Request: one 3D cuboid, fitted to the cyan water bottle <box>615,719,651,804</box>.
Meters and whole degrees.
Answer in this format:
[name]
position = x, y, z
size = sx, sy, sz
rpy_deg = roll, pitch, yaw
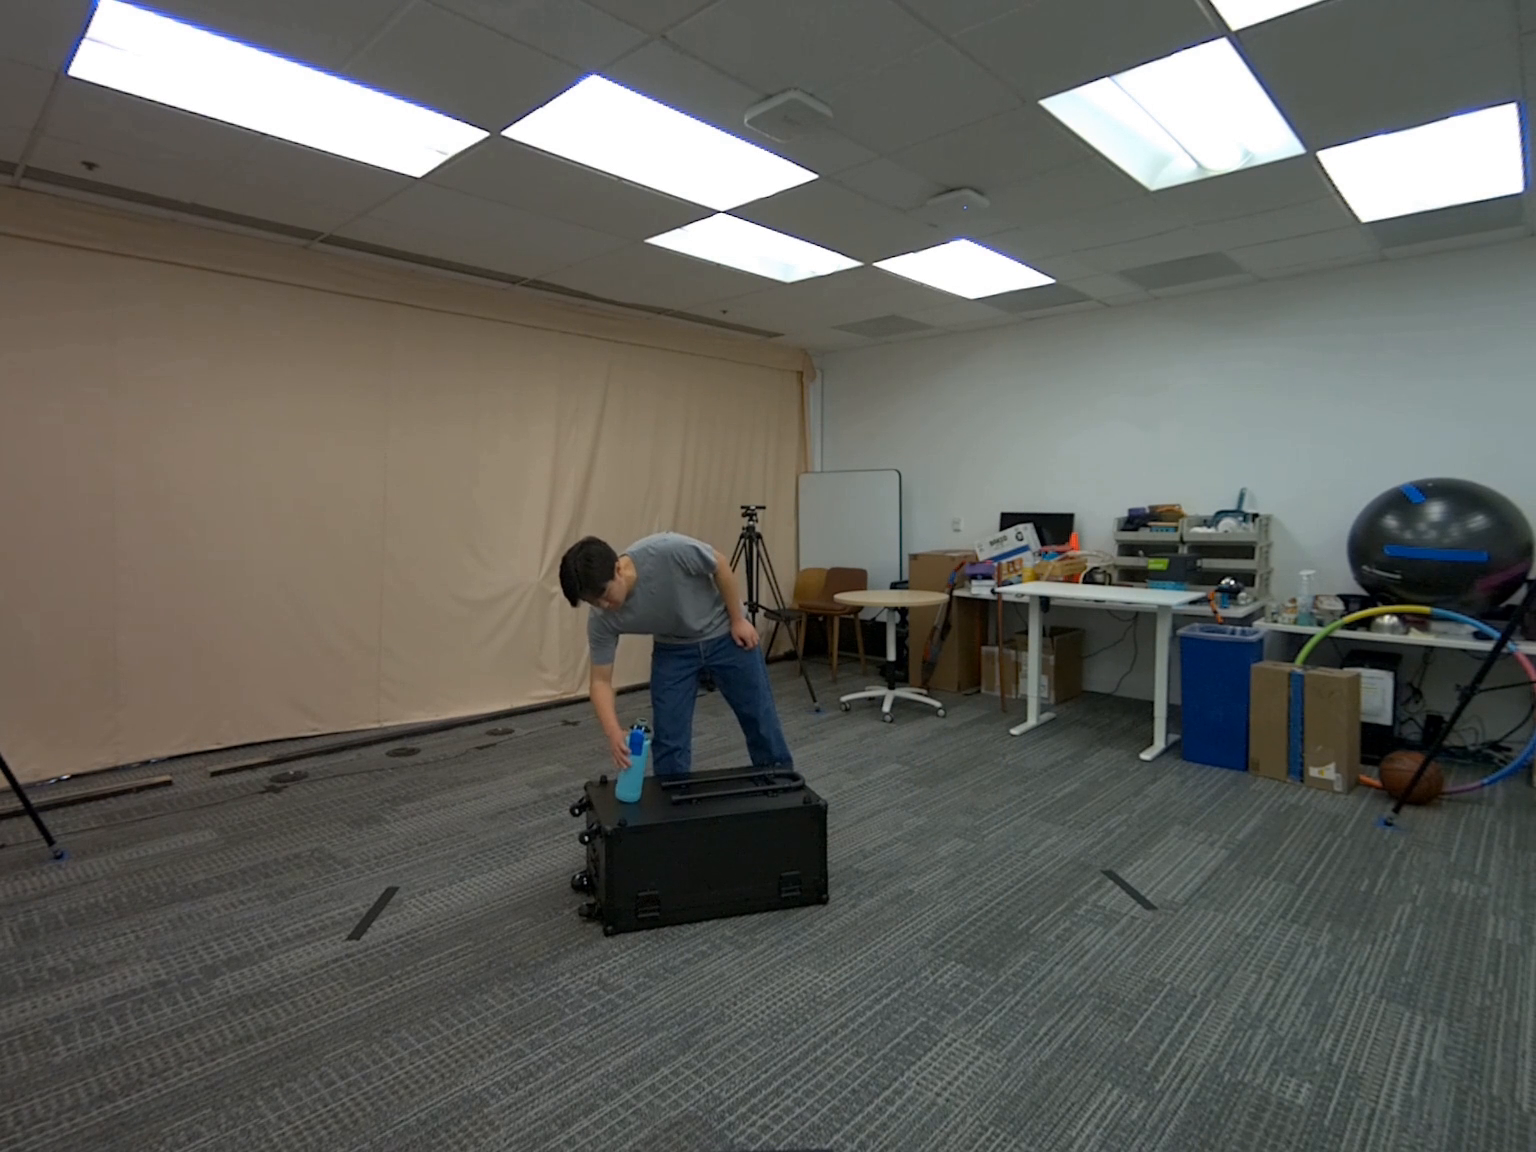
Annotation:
[cyan water bottle]
position = -0.473, 0.638, 2.960
size = 0.092, 0.282, 0.093
rpy_deg = 11, 11, -4
